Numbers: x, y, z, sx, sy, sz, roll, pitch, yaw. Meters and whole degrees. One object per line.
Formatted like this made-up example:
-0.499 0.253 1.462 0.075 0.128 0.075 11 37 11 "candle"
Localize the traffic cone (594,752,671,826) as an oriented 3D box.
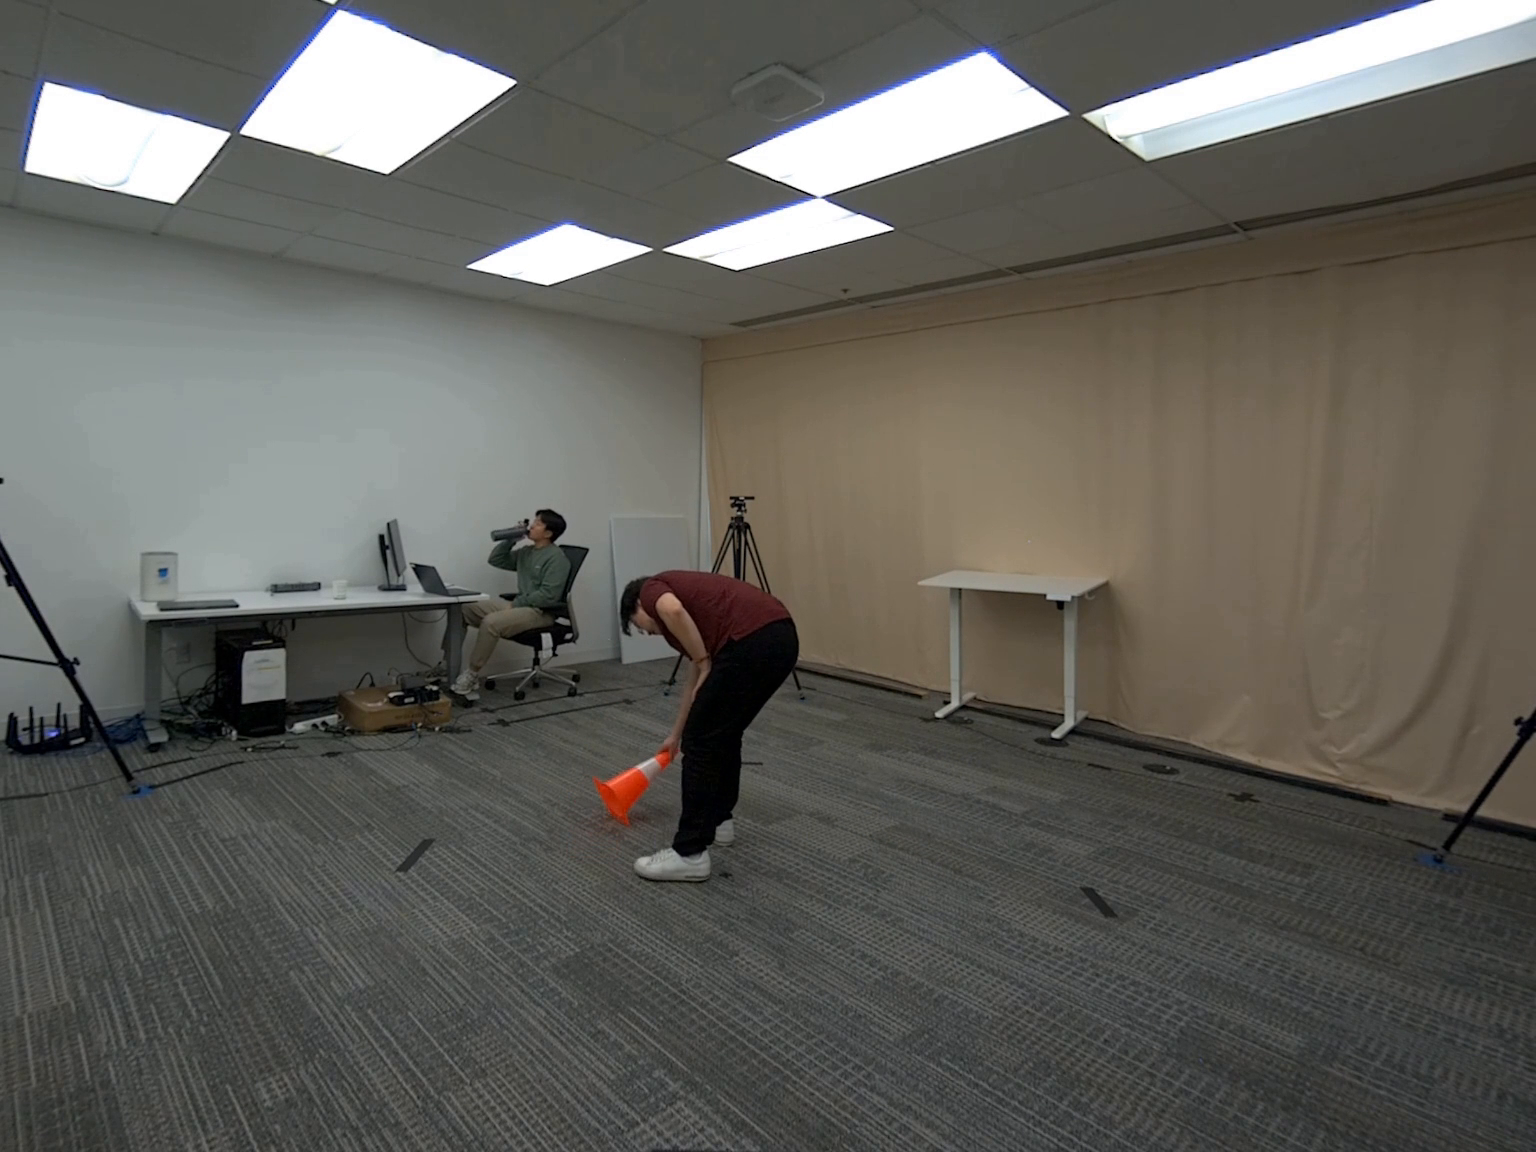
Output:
-0.554 0.870 3.687 0.381 0.200 0.210 -34 24 -34 "traffic cone"
